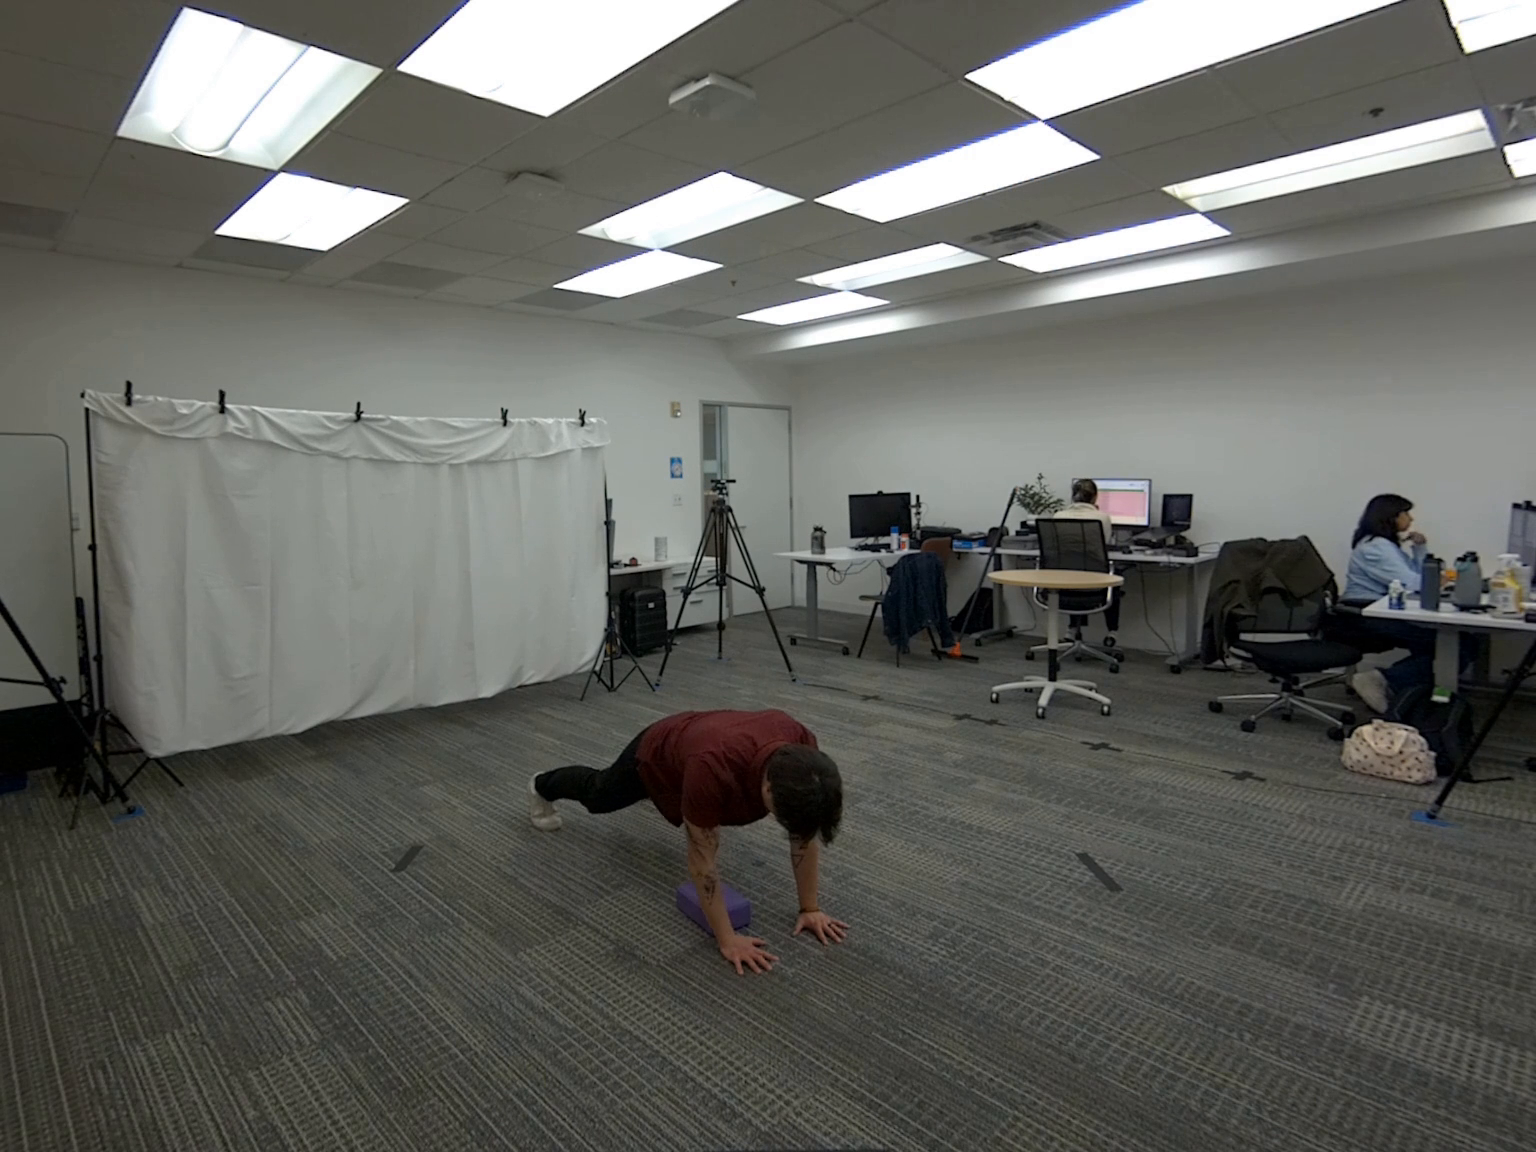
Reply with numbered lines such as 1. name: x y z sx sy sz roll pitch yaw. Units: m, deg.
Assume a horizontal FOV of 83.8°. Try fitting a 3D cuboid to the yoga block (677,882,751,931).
1. yoga block: -0.174 1.051 2.735 0.145 0.076 0.236 -4 7 -35
